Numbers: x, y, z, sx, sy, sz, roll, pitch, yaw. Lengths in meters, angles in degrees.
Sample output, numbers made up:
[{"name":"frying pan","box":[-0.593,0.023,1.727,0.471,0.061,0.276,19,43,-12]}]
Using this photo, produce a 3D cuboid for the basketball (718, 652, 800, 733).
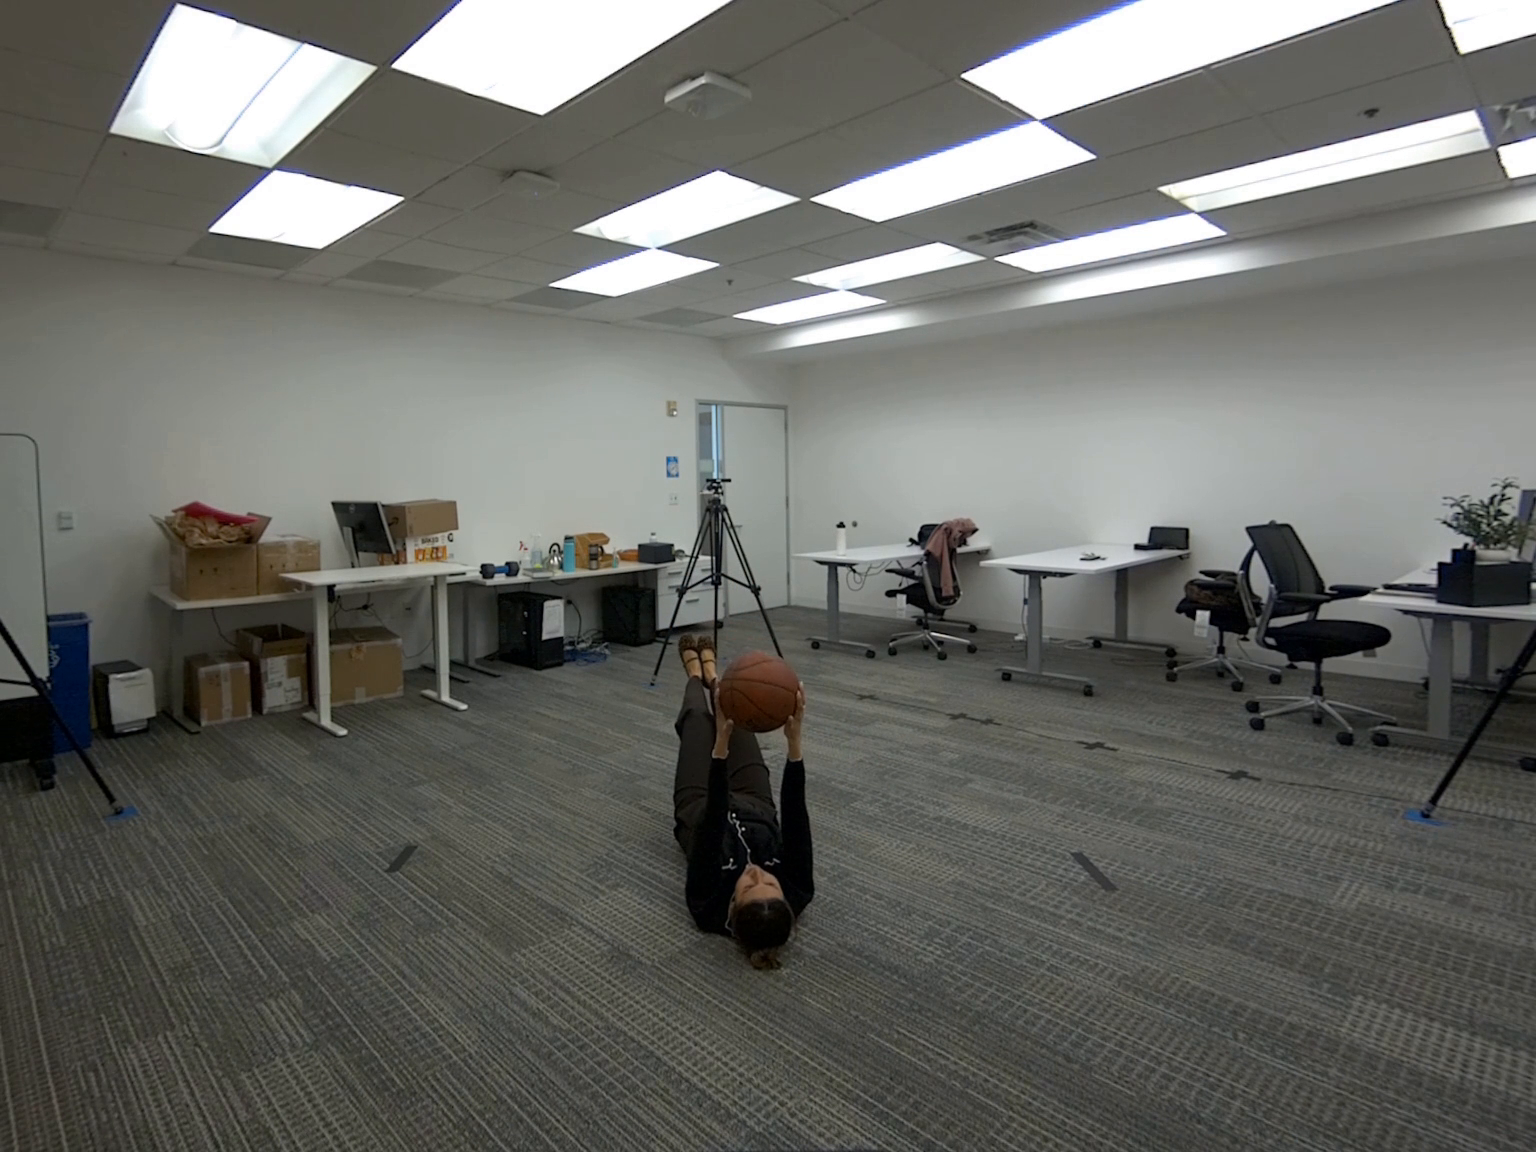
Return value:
[{"name":"basketball","box":[-0.020,0.338,2.506,0.236,0.235,0.237,-1,5,-2]}]
